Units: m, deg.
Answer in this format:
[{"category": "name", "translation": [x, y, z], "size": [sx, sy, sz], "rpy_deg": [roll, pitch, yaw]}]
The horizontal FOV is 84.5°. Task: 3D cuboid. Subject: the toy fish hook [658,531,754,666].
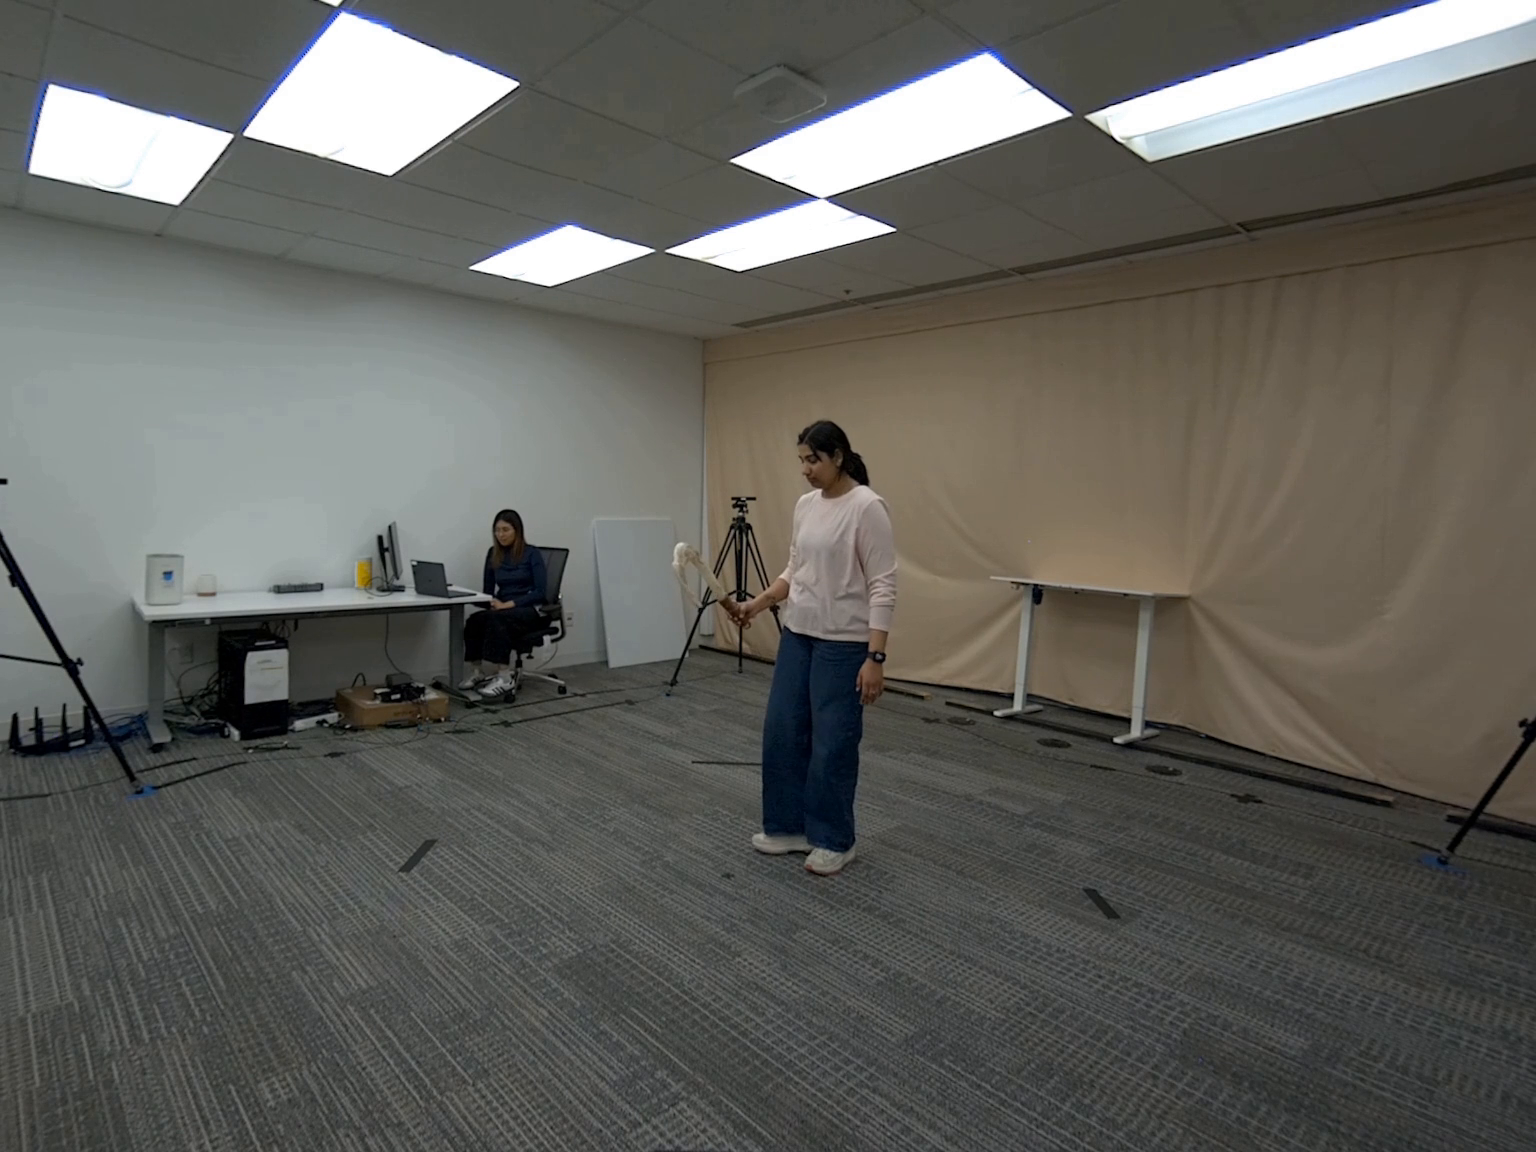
[{"category": "toy fish hook", "translation": [-0.214, 0.087, 3.076], "size": [0.049, 0.228, 0.491], "rpy_deg": [-14, -46, 28]}]
